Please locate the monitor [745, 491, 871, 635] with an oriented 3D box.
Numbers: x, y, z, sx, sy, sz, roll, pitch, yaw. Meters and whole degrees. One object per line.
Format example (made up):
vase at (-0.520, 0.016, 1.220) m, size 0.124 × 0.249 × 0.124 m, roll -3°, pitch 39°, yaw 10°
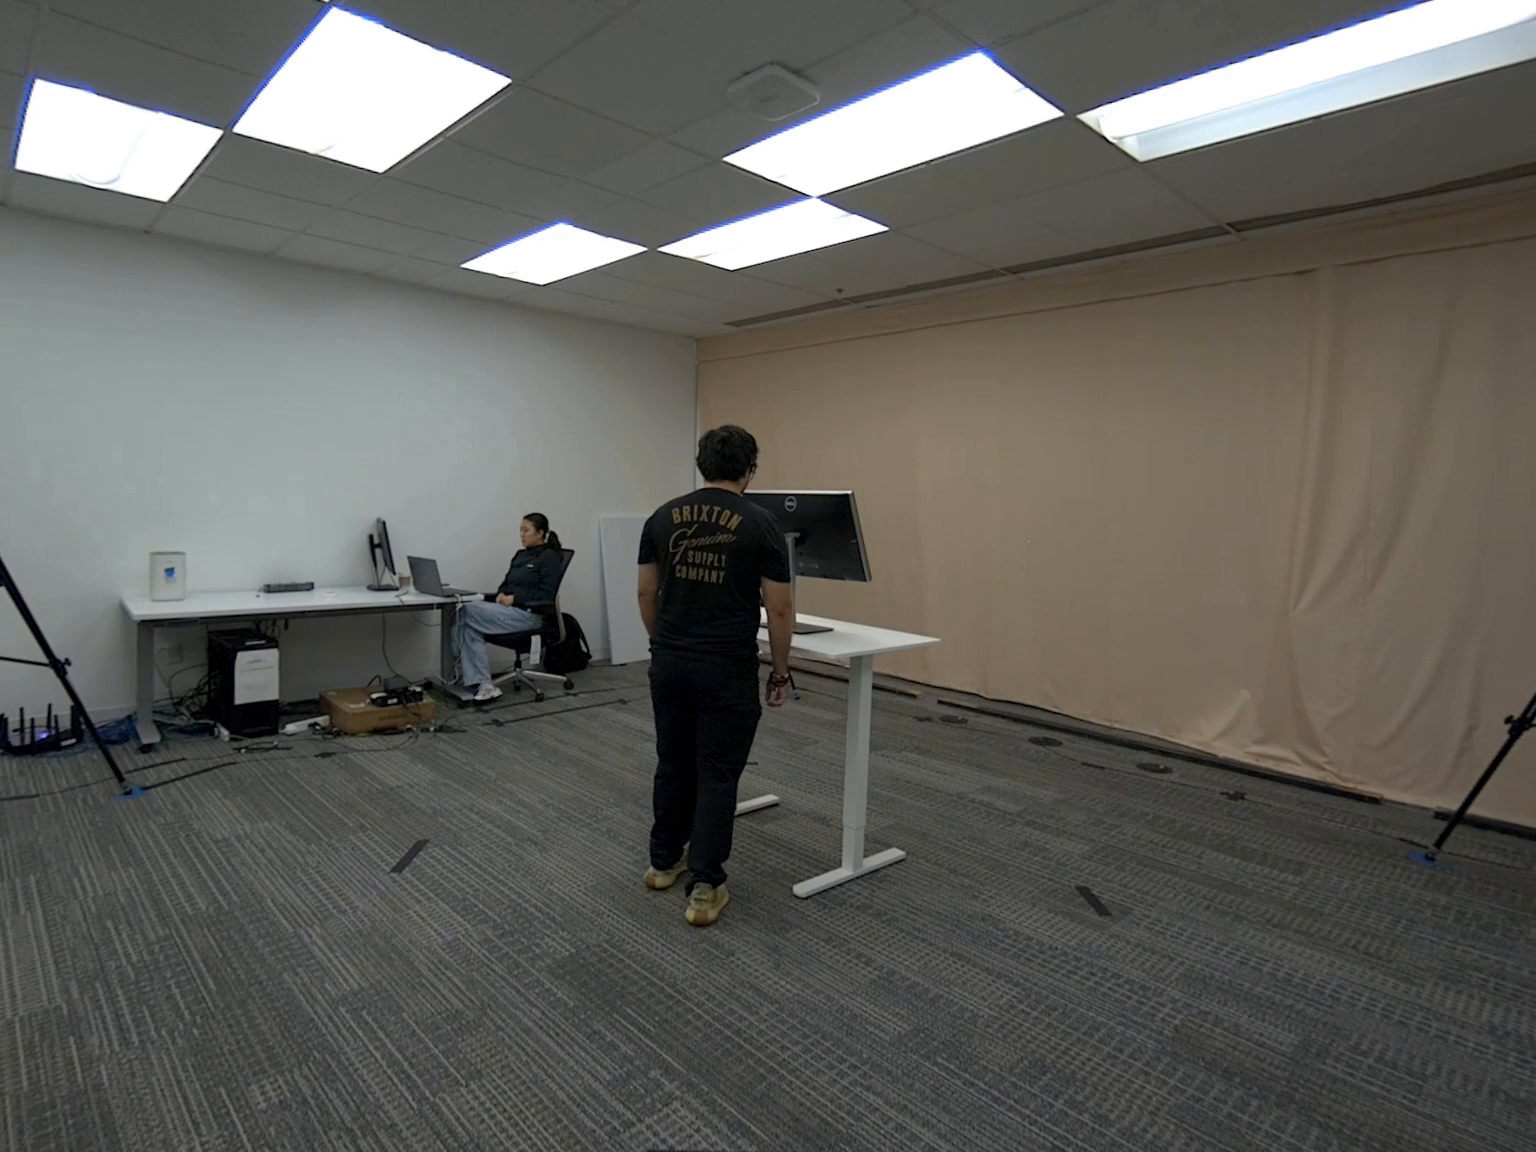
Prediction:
monitor at (0.091, -0.057, 3.283) m, size 0.580 × 0.549 × 0.206 m, roll 5°, pitch 15°, yaw 43°
